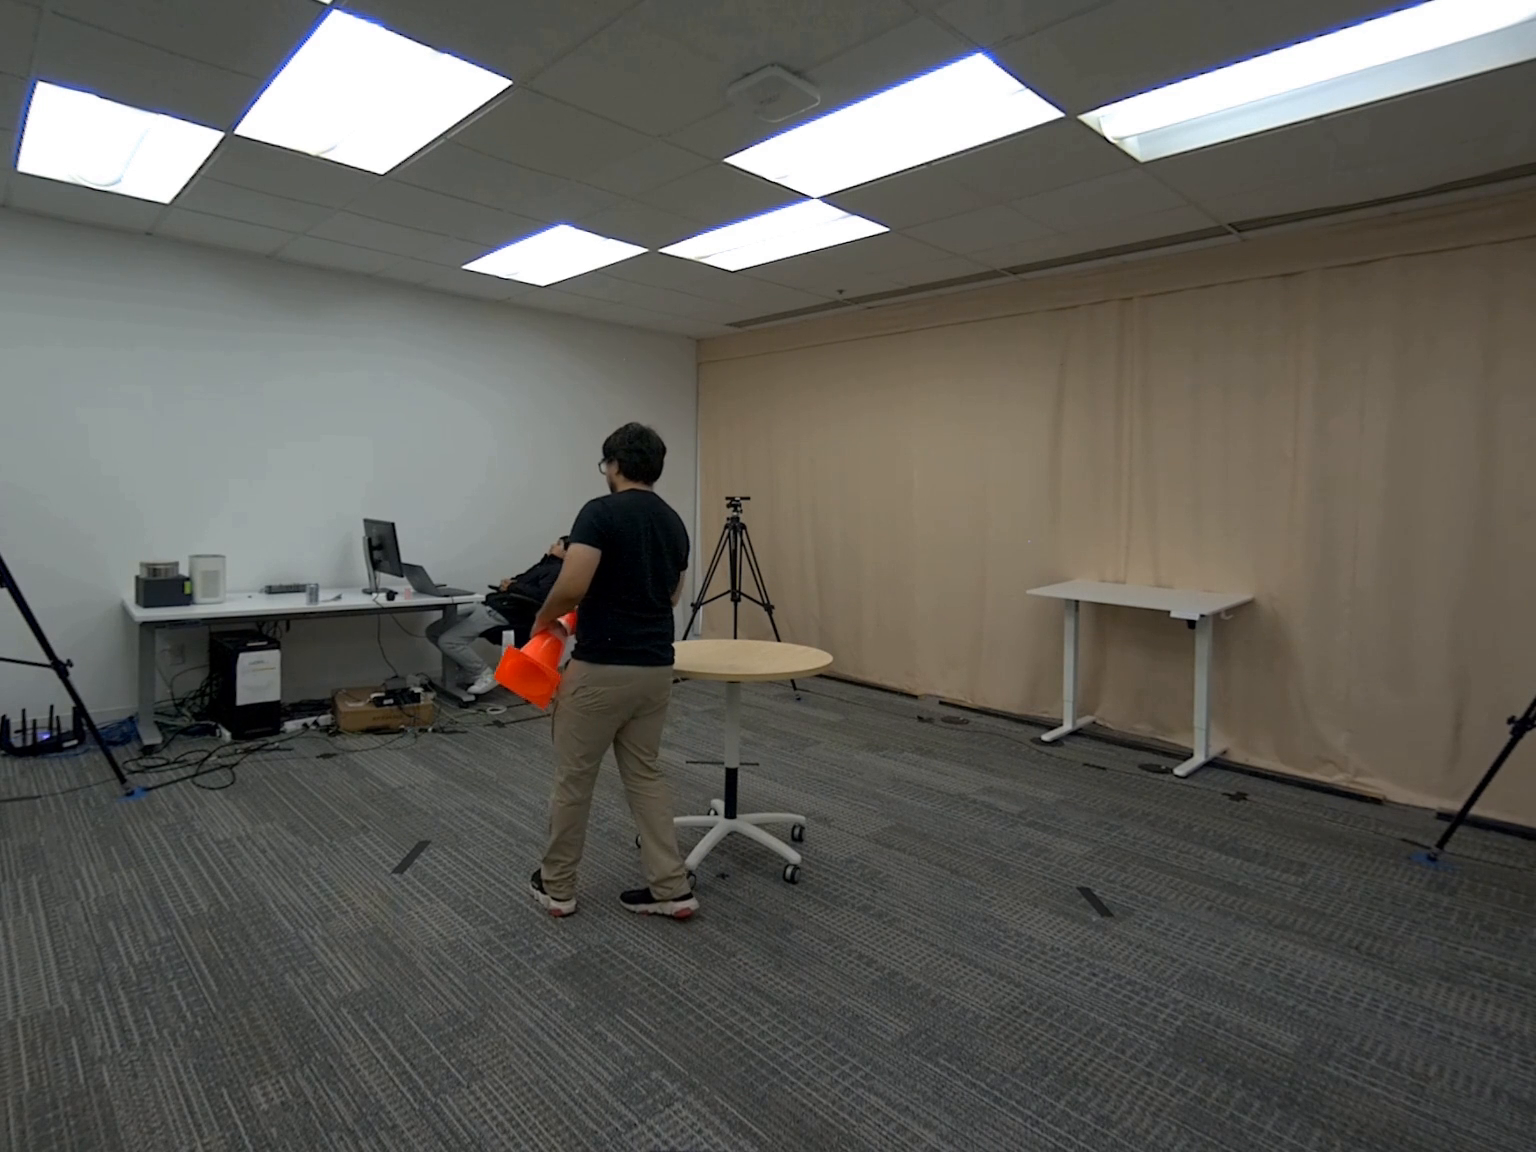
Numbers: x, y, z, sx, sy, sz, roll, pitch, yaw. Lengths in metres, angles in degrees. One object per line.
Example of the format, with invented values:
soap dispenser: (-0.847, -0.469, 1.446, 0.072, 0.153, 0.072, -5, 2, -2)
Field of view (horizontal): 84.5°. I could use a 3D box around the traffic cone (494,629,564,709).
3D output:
traffic cone: (-0.729, 0.219, 2.859, 0.203, 0.204, 0.387, 31, 38, -3)
